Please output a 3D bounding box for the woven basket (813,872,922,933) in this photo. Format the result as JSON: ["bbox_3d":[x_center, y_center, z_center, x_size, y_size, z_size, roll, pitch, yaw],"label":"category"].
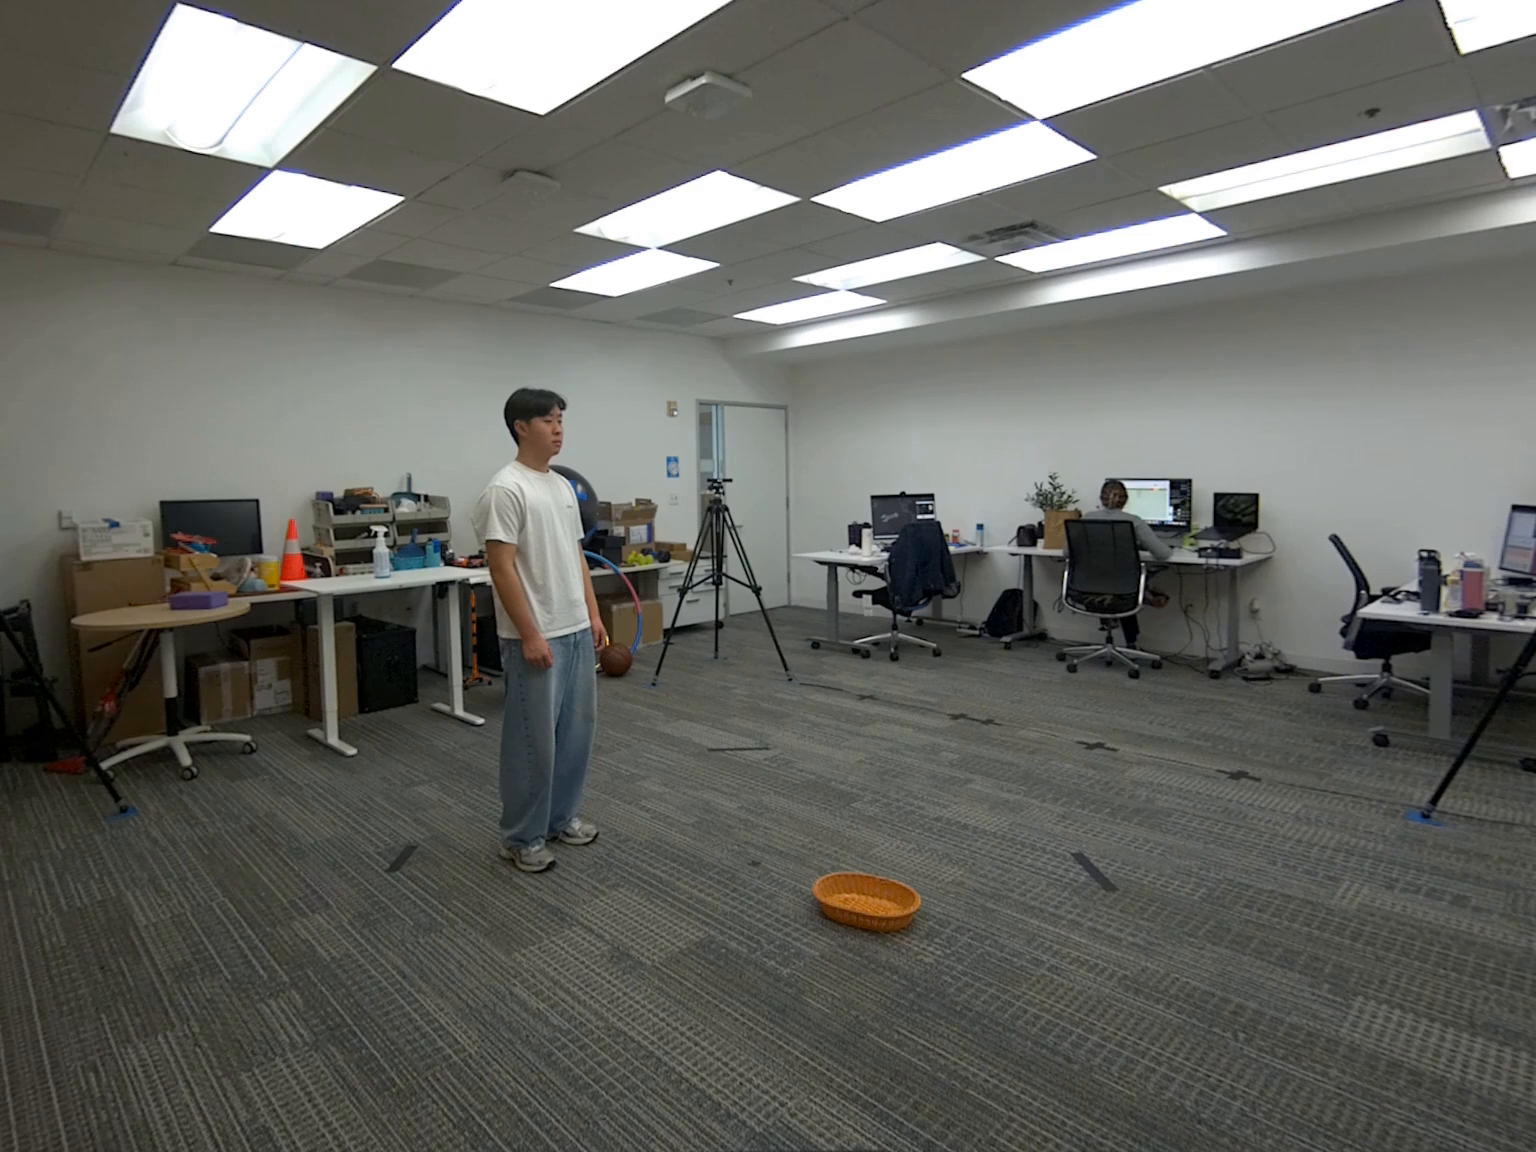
[{"bbox_3d":[0.316,1.045,2.733,0.359,0.073,0.247,1,7,28],"label":"woven basket"}]
